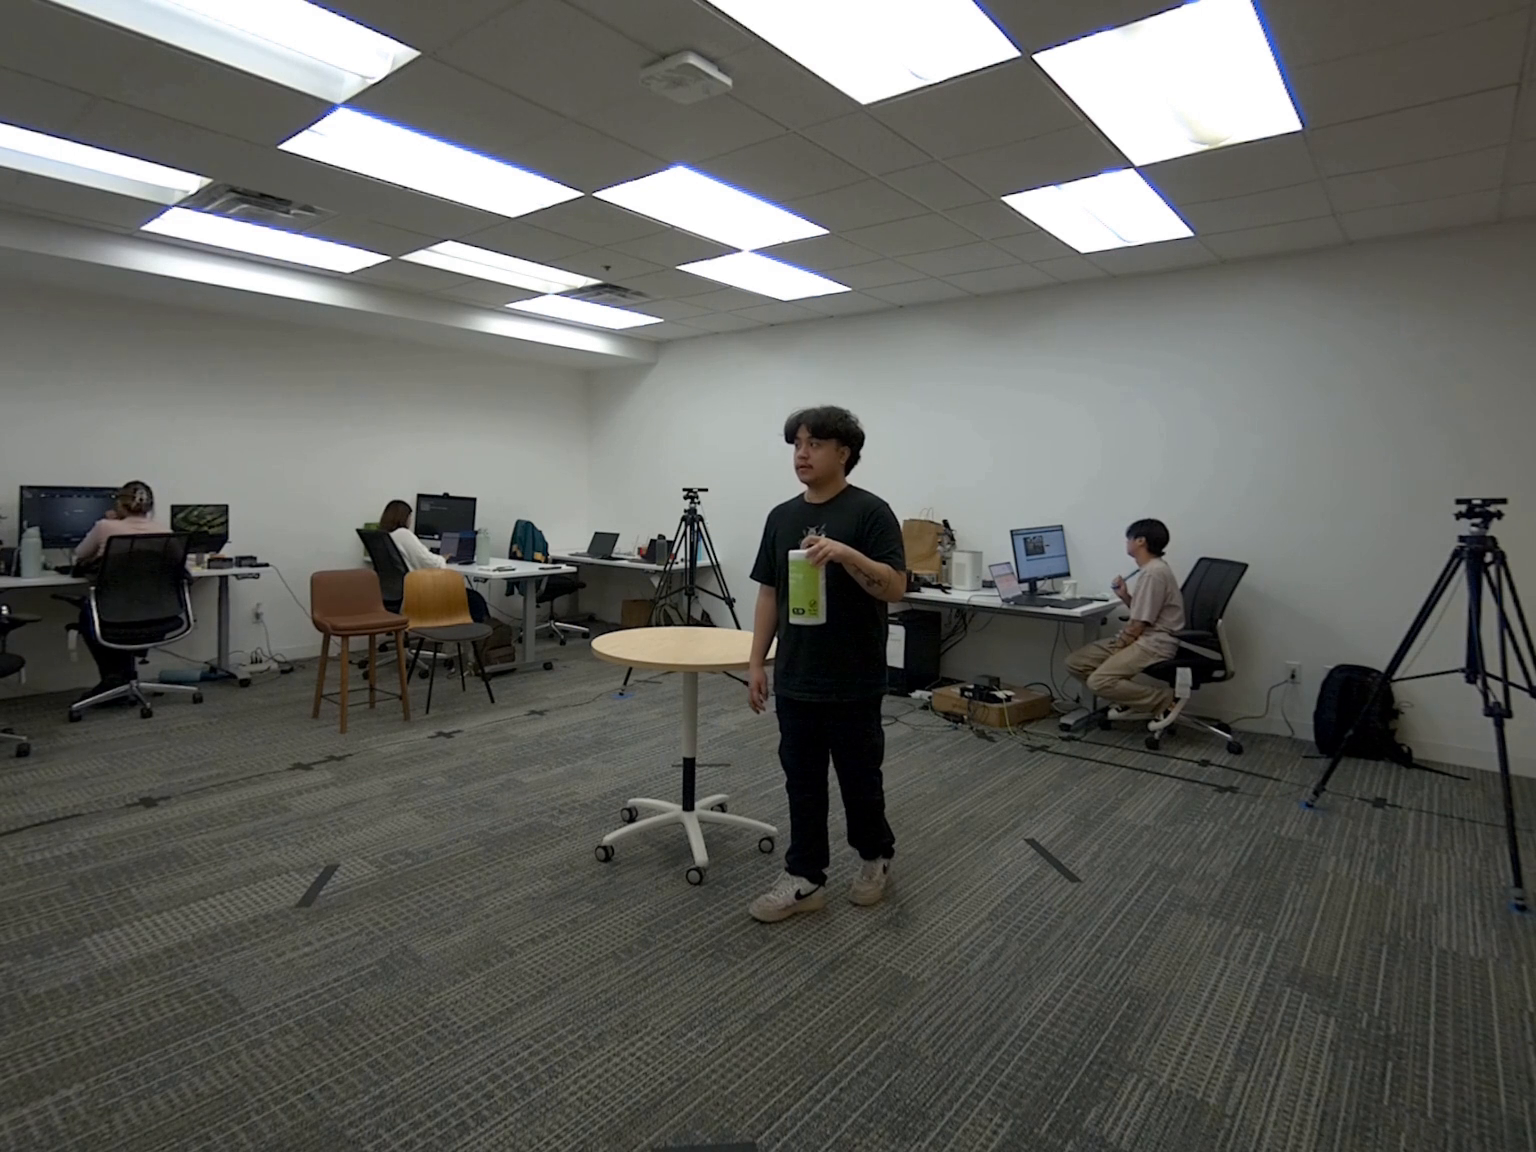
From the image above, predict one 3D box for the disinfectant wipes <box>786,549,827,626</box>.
[{"bbox_3d":[0.112,0.028,2.517,0.118,0.217,0.118,-2,2,-2],"label":"disinfectant wipes"}]
